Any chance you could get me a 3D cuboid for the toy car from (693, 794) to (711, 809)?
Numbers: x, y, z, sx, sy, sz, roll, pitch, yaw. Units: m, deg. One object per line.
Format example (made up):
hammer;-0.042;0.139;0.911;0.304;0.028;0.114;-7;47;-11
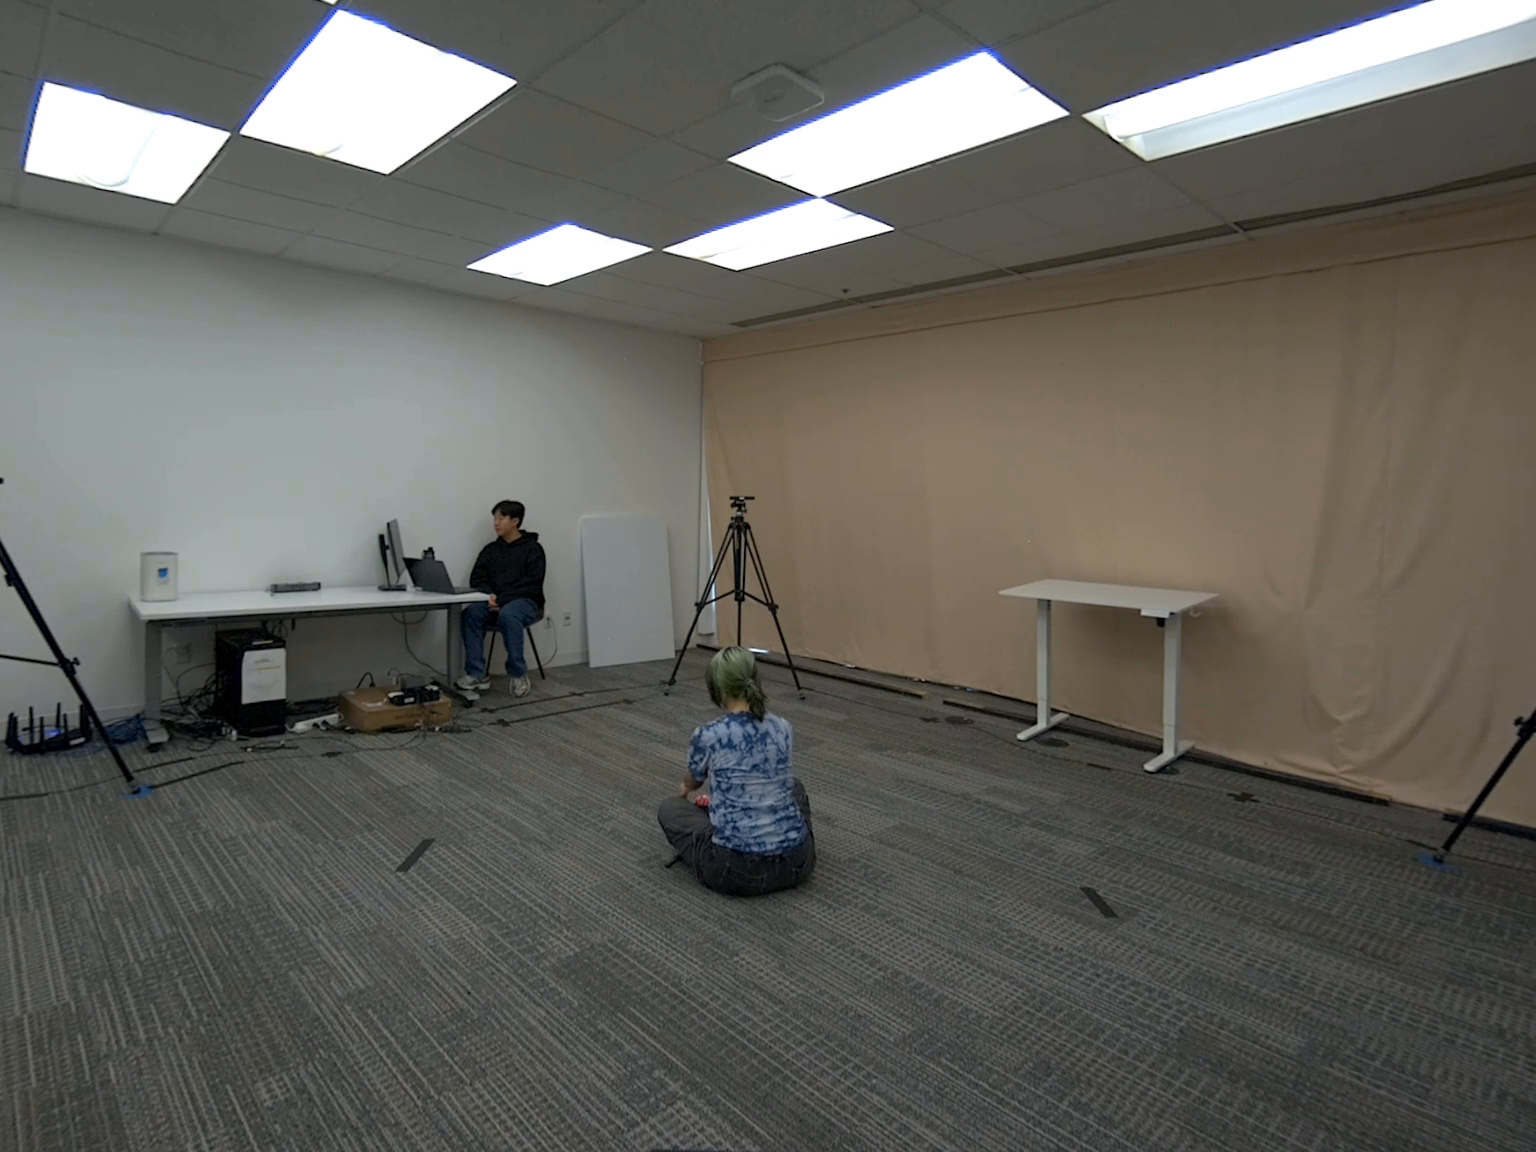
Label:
toy car;-0.253;1.019;3.699;0.129;0.083;0.256;2;-6;-12
